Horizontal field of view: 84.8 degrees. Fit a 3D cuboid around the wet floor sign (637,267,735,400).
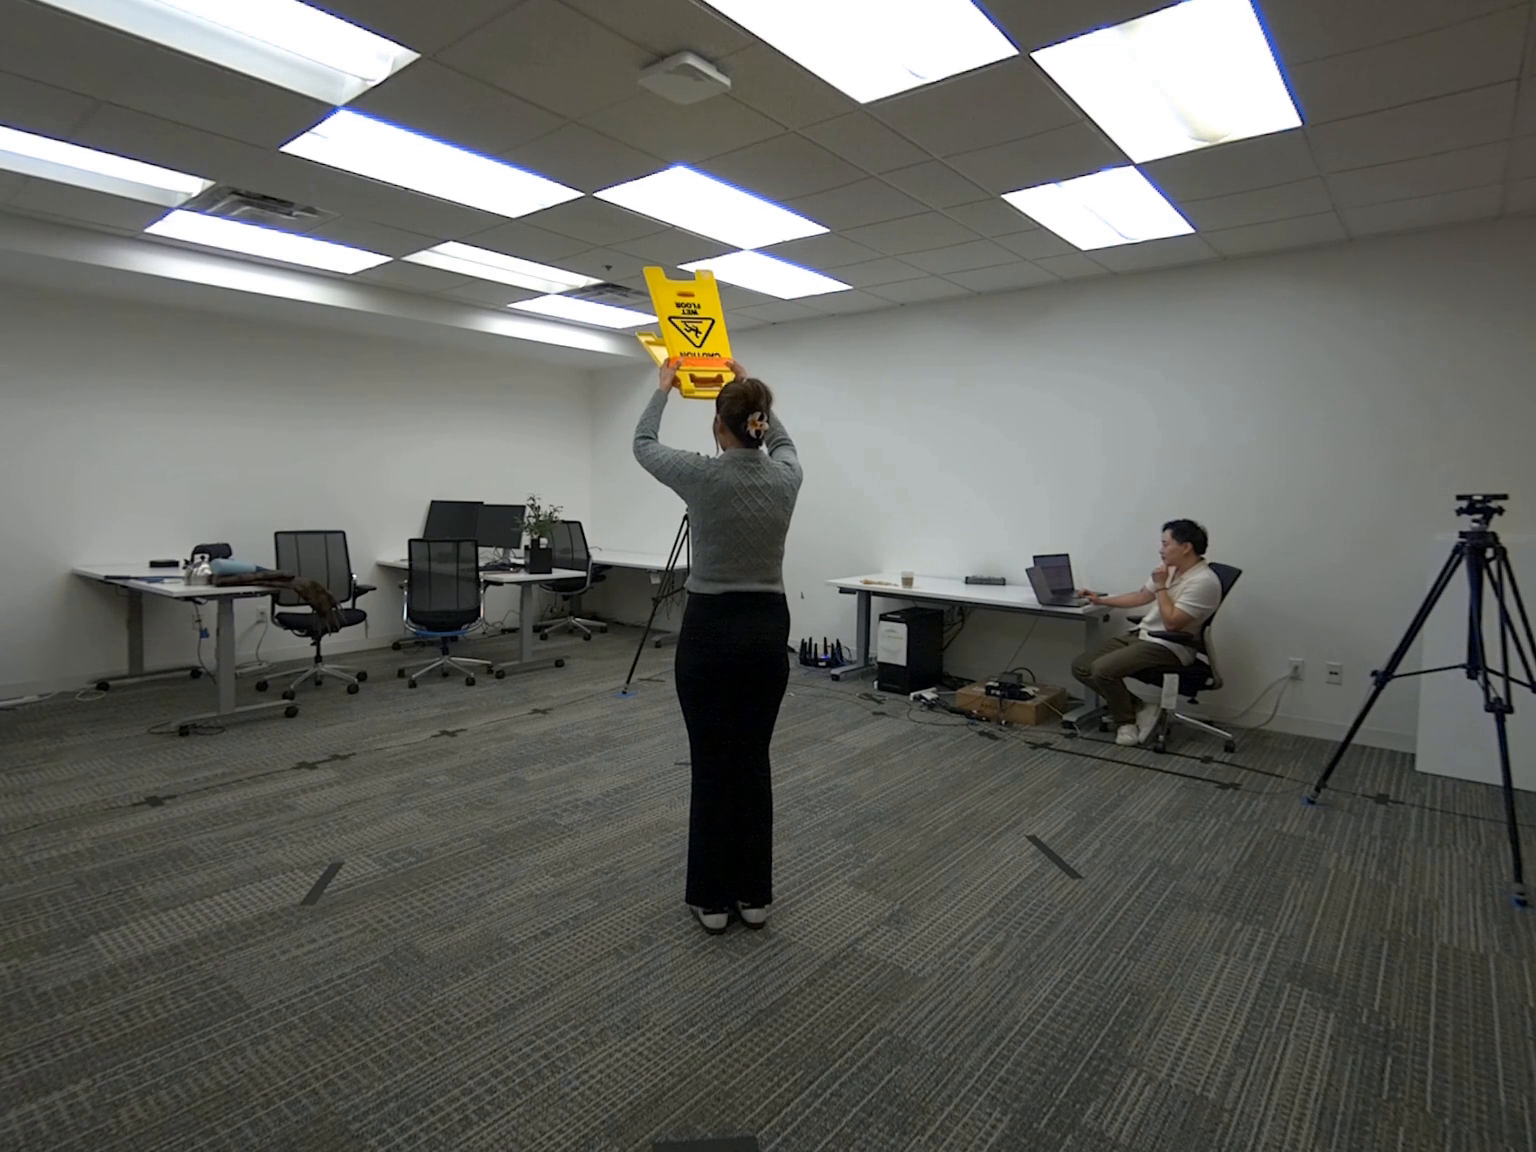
[{"bbox_3d":[-0.299,-0.857,3.146,0.277,0.284,0.671,-4,45,-18],"label":"wet floor sign"}]
